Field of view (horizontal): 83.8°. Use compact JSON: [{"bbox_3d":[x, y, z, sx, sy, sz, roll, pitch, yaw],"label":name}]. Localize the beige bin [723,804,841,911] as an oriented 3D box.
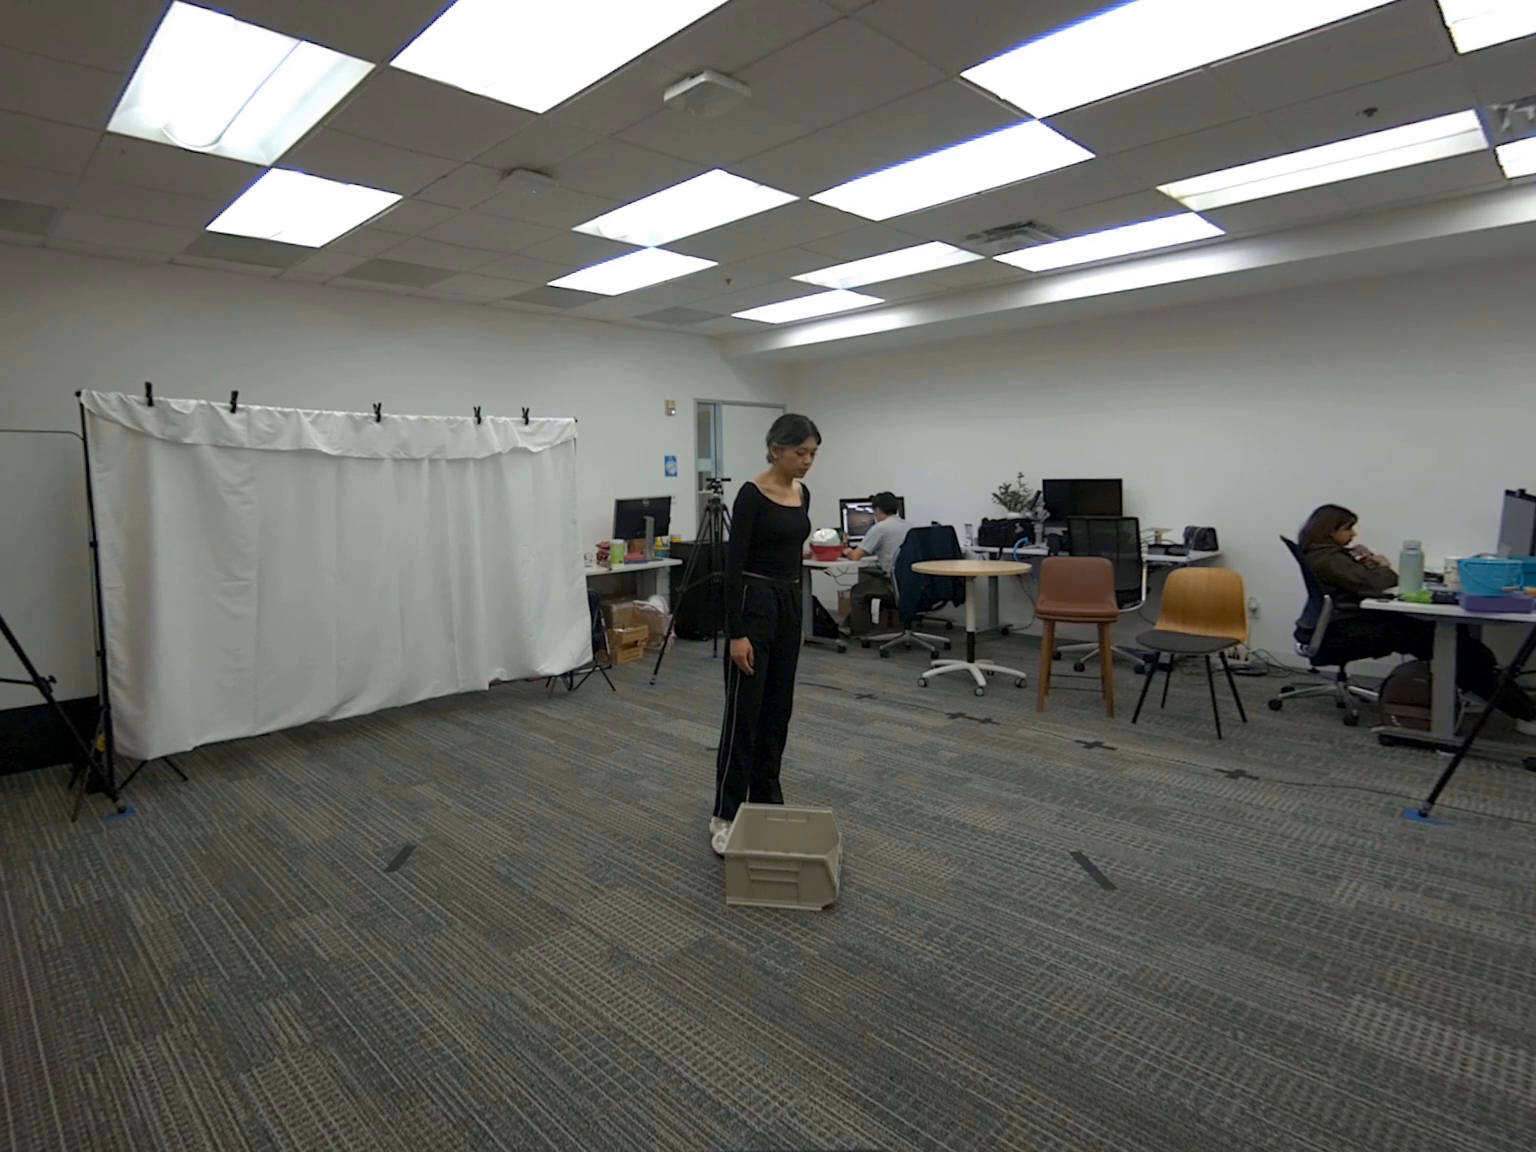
[{"bbox_3d":[0.067,0.970,2.969,0.380,0.188,0.421,-1,6,7],"label":"beige bin"}]
